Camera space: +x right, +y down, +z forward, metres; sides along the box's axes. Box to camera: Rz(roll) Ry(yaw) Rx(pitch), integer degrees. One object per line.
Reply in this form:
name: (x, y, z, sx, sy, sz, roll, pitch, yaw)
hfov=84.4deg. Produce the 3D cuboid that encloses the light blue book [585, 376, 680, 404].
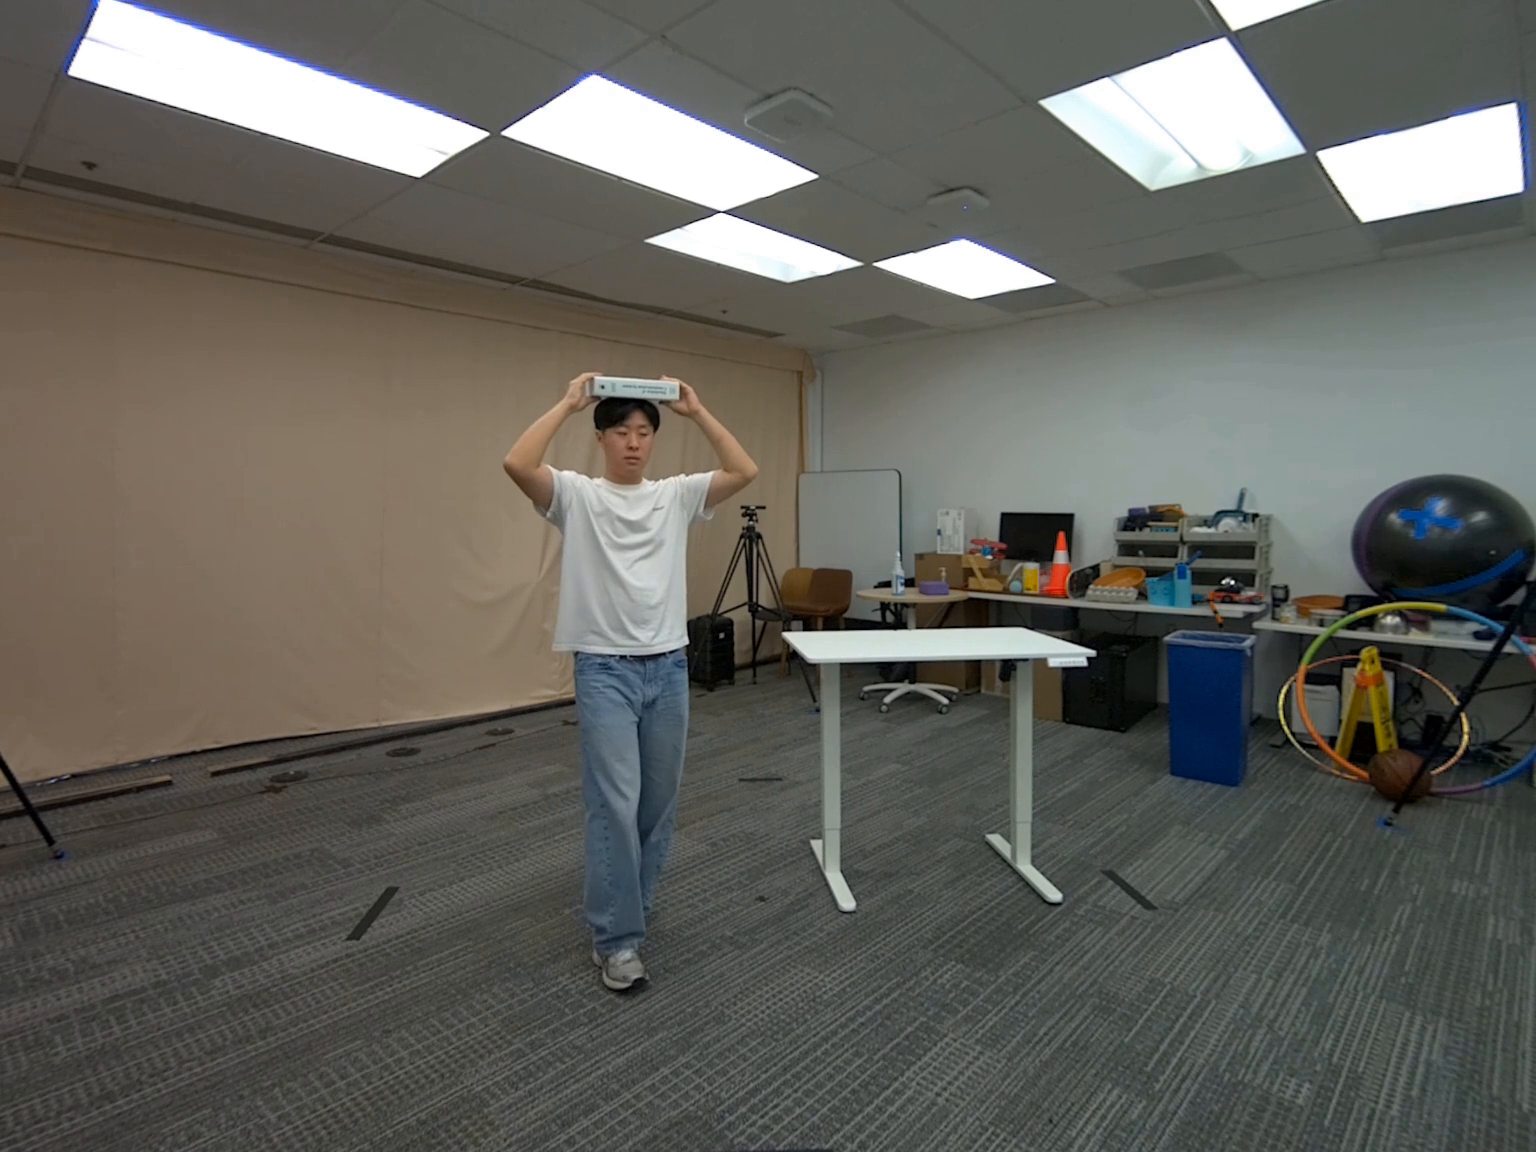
light blue book: (-0.437, -0.578, 2.611, 0.257, 0.058, 0.196, -1, 12, -17)
